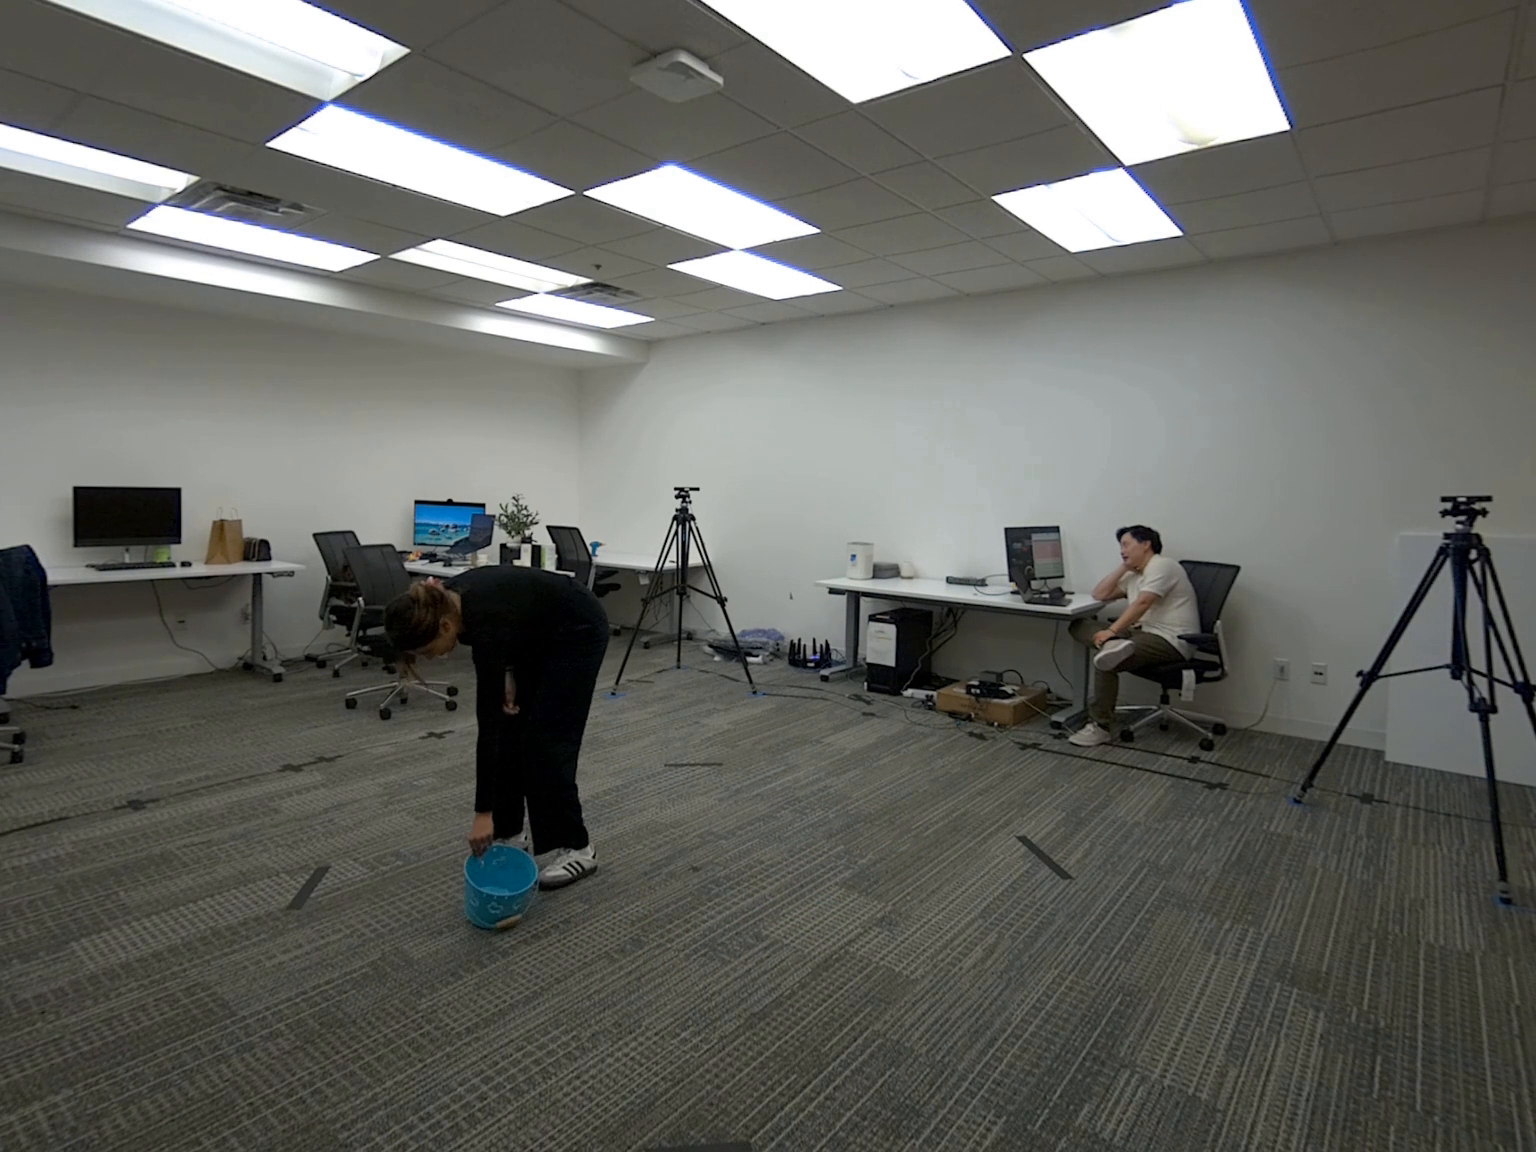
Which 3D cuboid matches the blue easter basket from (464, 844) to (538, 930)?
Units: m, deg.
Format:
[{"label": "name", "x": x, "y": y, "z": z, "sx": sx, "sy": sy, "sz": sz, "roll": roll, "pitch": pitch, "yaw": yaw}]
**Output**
[{"label": "blue easter basket", "x": -0.875, "y": 1.000, "z": 2.703, "sx": 0.242, "sy": 0.154, "sz": 0.248, "roll": 11, "pitch": 17, "yaw": -5}]
